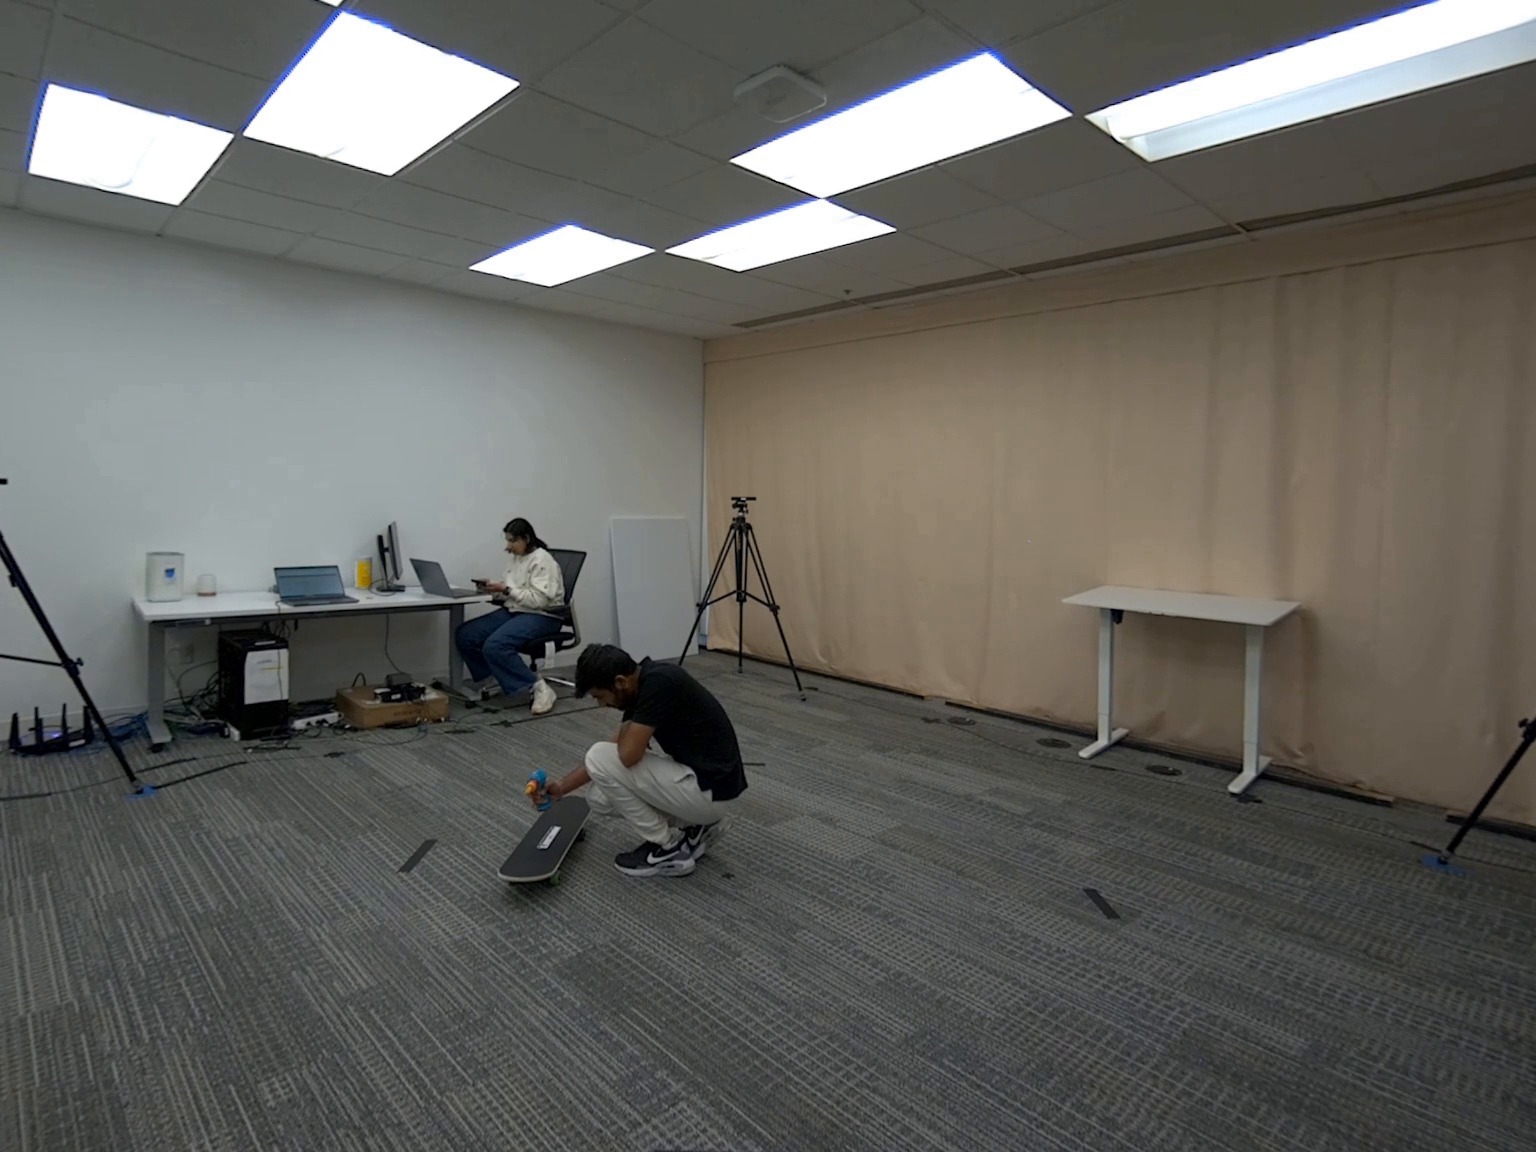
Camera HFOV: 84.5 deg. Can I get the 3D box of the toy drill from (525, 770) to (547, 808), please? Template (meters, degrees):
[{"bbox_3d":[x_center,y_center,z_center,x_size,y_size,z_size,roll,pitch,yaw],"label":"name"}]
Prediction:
[{"bbox_3d":[-0.845,0.788,3.063,0.061,0.145,0.170,-14,6,2],"label":"toy drill"}]
